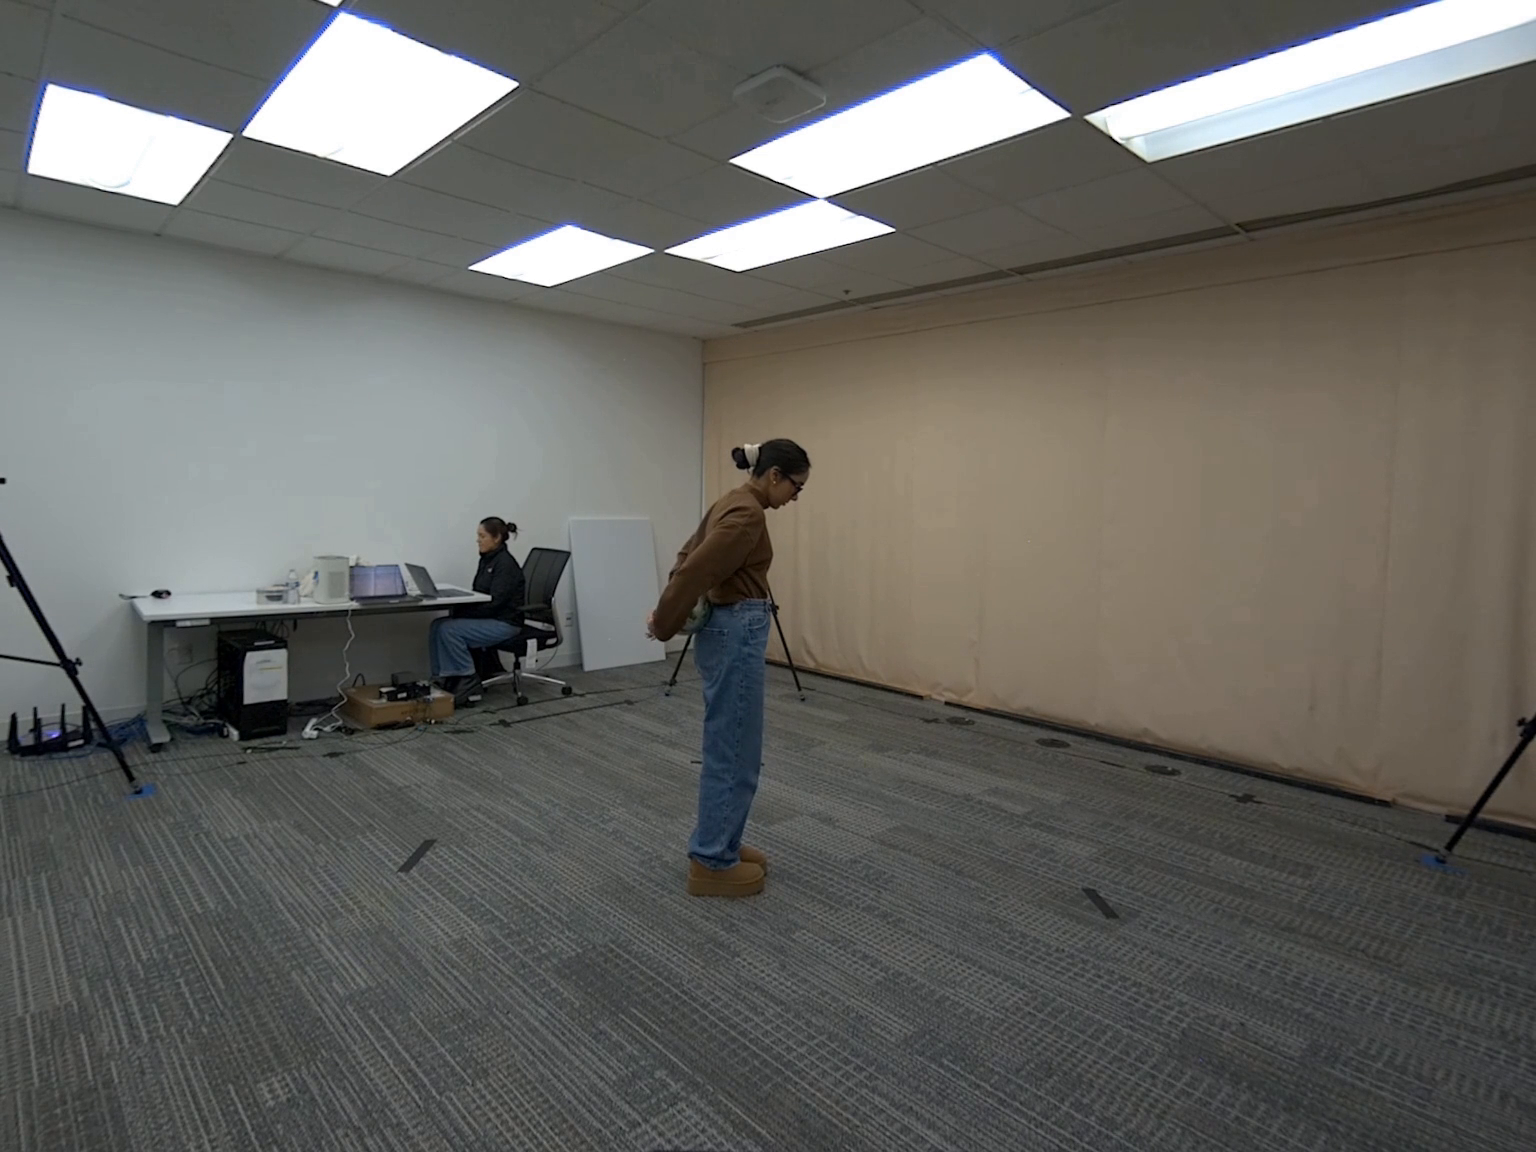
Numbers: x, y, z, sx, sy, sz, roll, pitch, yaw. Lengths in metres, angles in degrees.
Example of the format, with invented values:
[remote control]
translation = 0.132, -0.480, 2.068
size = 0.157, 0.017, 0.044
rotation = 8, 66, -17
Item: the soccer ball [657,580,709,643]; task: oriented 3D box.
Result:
[soccer ball]
translation = -0.285, 0.120, 2.947
size = 0.187, 0.187, 0.188
rotation = 1, 4, -1
